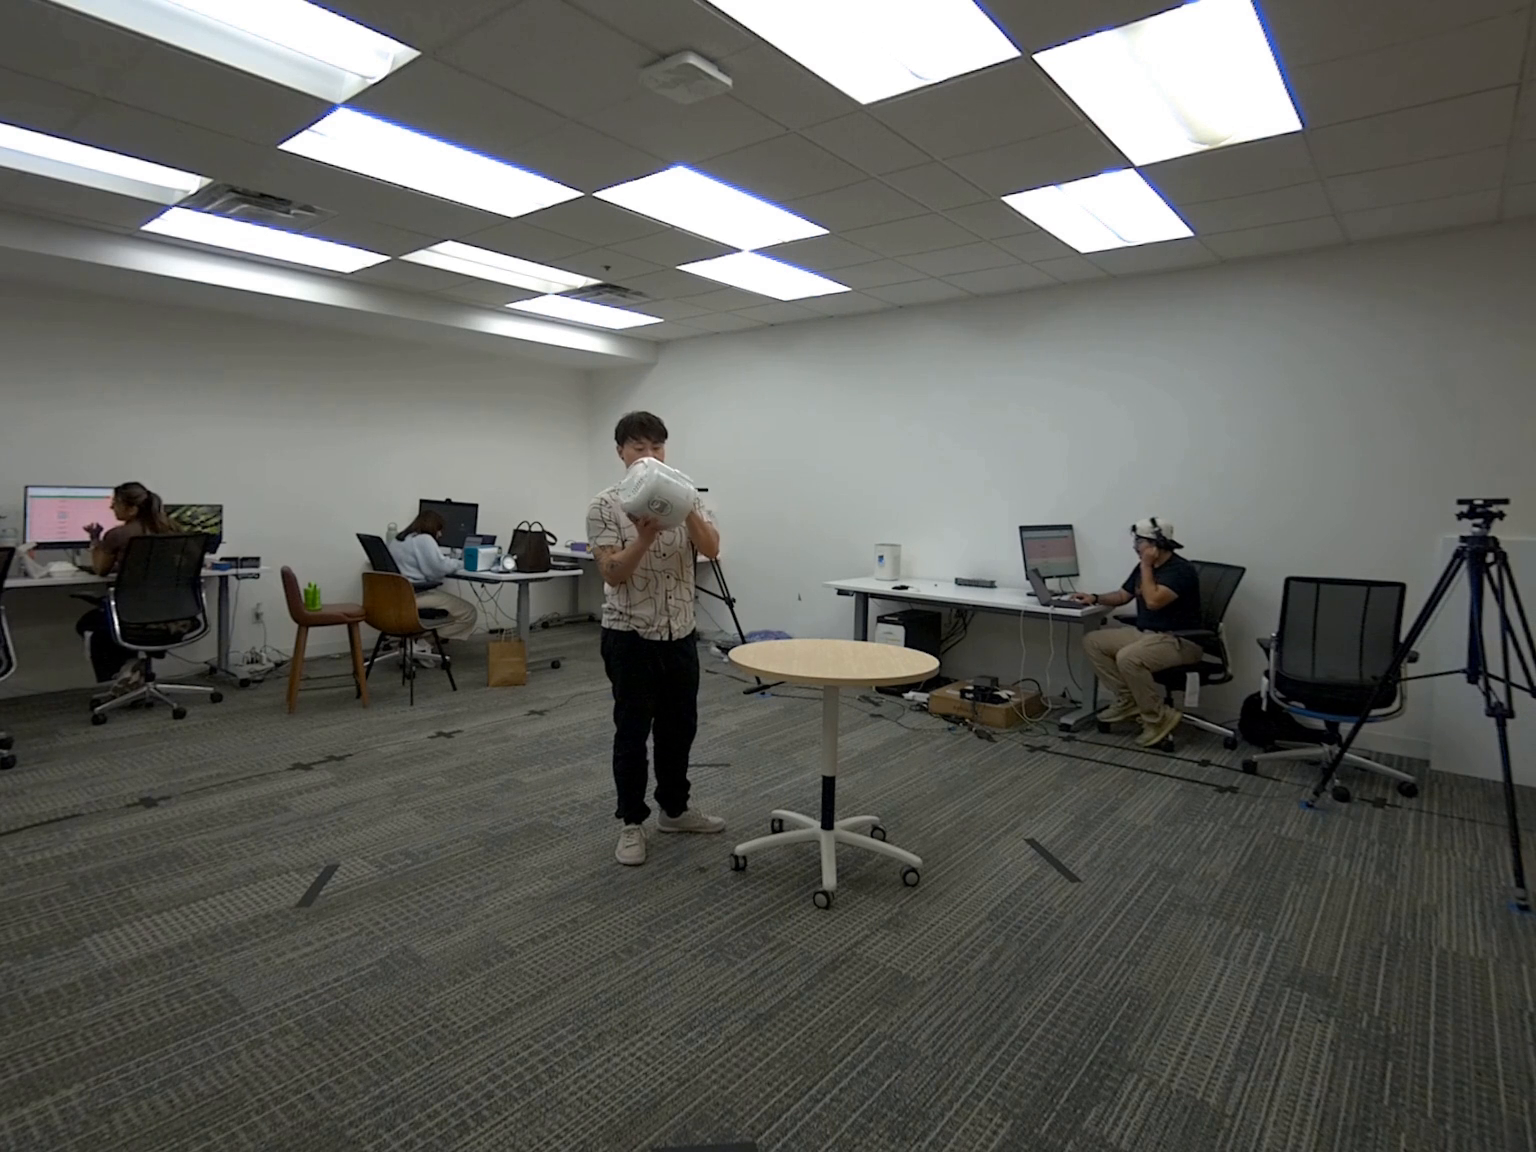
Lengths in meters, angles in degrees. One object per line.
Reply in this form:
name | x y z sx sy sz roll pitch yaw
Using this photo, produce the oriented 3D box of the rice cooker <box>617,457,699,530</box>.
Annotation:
rice cooker | -0.381 -0.274 2.892 0.224 0.220 0.226 25 18 -36
